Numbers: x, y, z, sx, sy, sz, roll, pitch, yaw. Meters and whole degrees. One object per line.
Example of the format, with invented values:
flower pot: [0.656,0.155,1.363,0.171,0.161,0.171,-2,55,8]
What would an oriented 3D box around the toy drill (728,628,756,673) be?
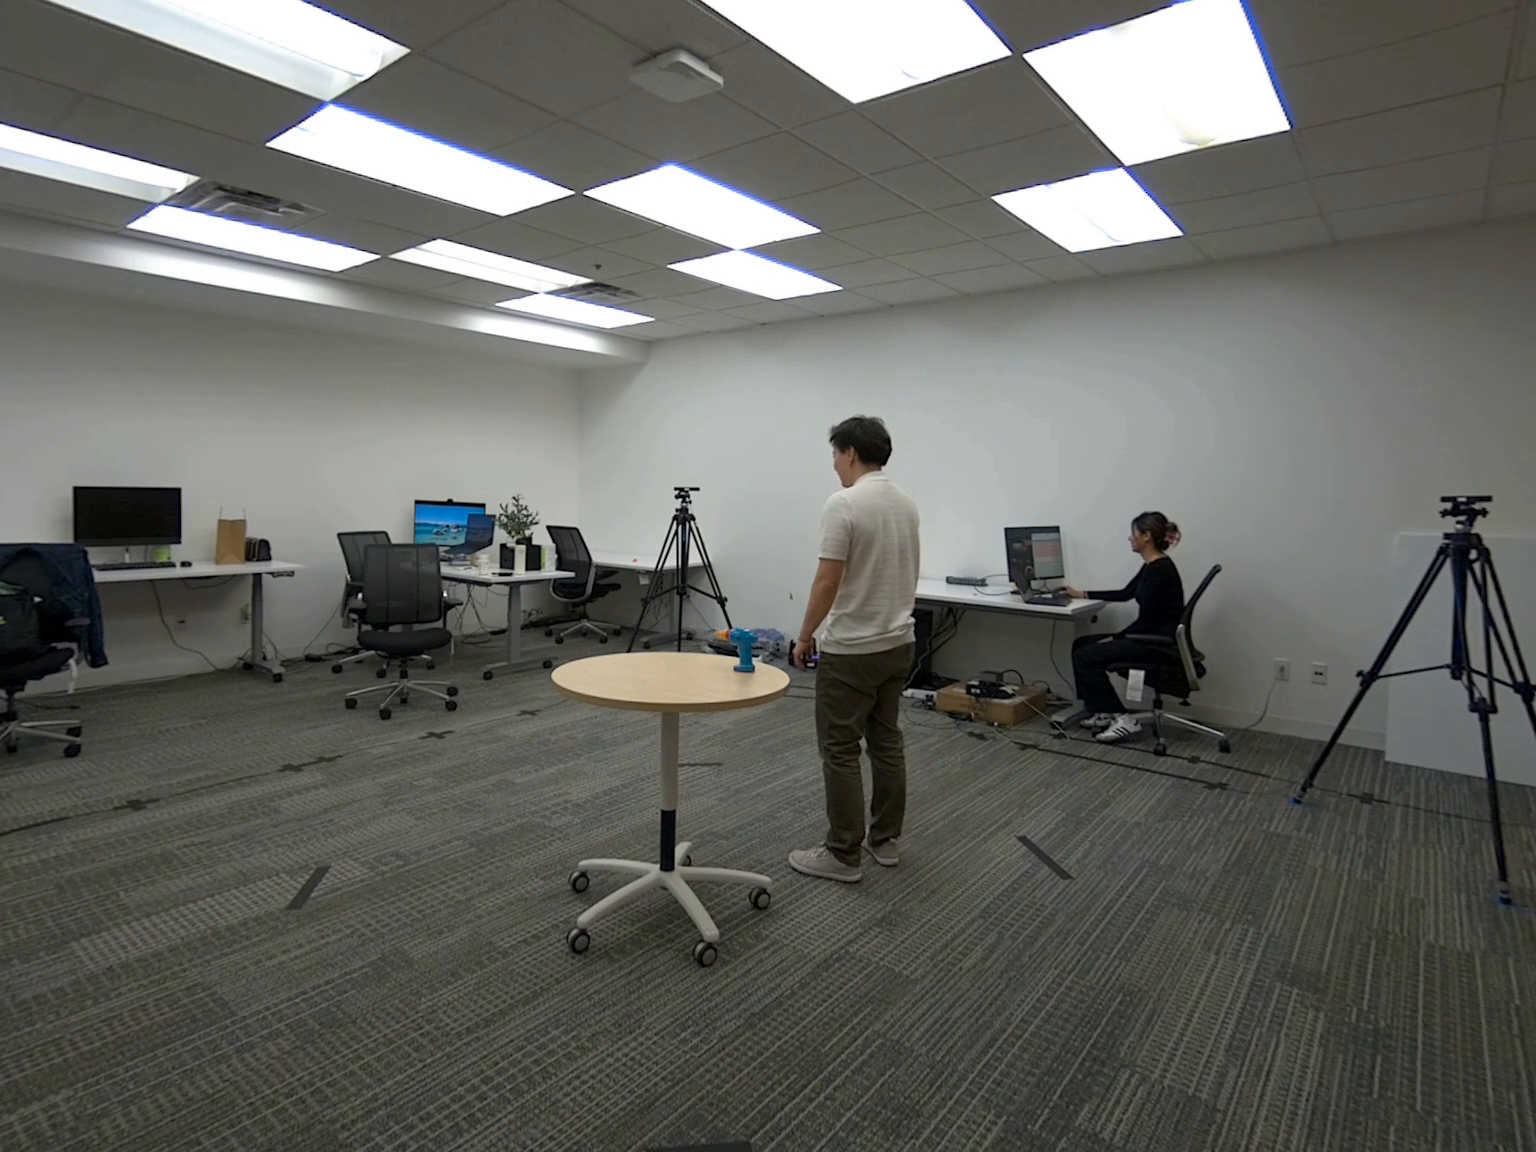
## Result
toy drill: [-0.120,0.242,2.853,0.175,0.146,0.059,3,2,29]
